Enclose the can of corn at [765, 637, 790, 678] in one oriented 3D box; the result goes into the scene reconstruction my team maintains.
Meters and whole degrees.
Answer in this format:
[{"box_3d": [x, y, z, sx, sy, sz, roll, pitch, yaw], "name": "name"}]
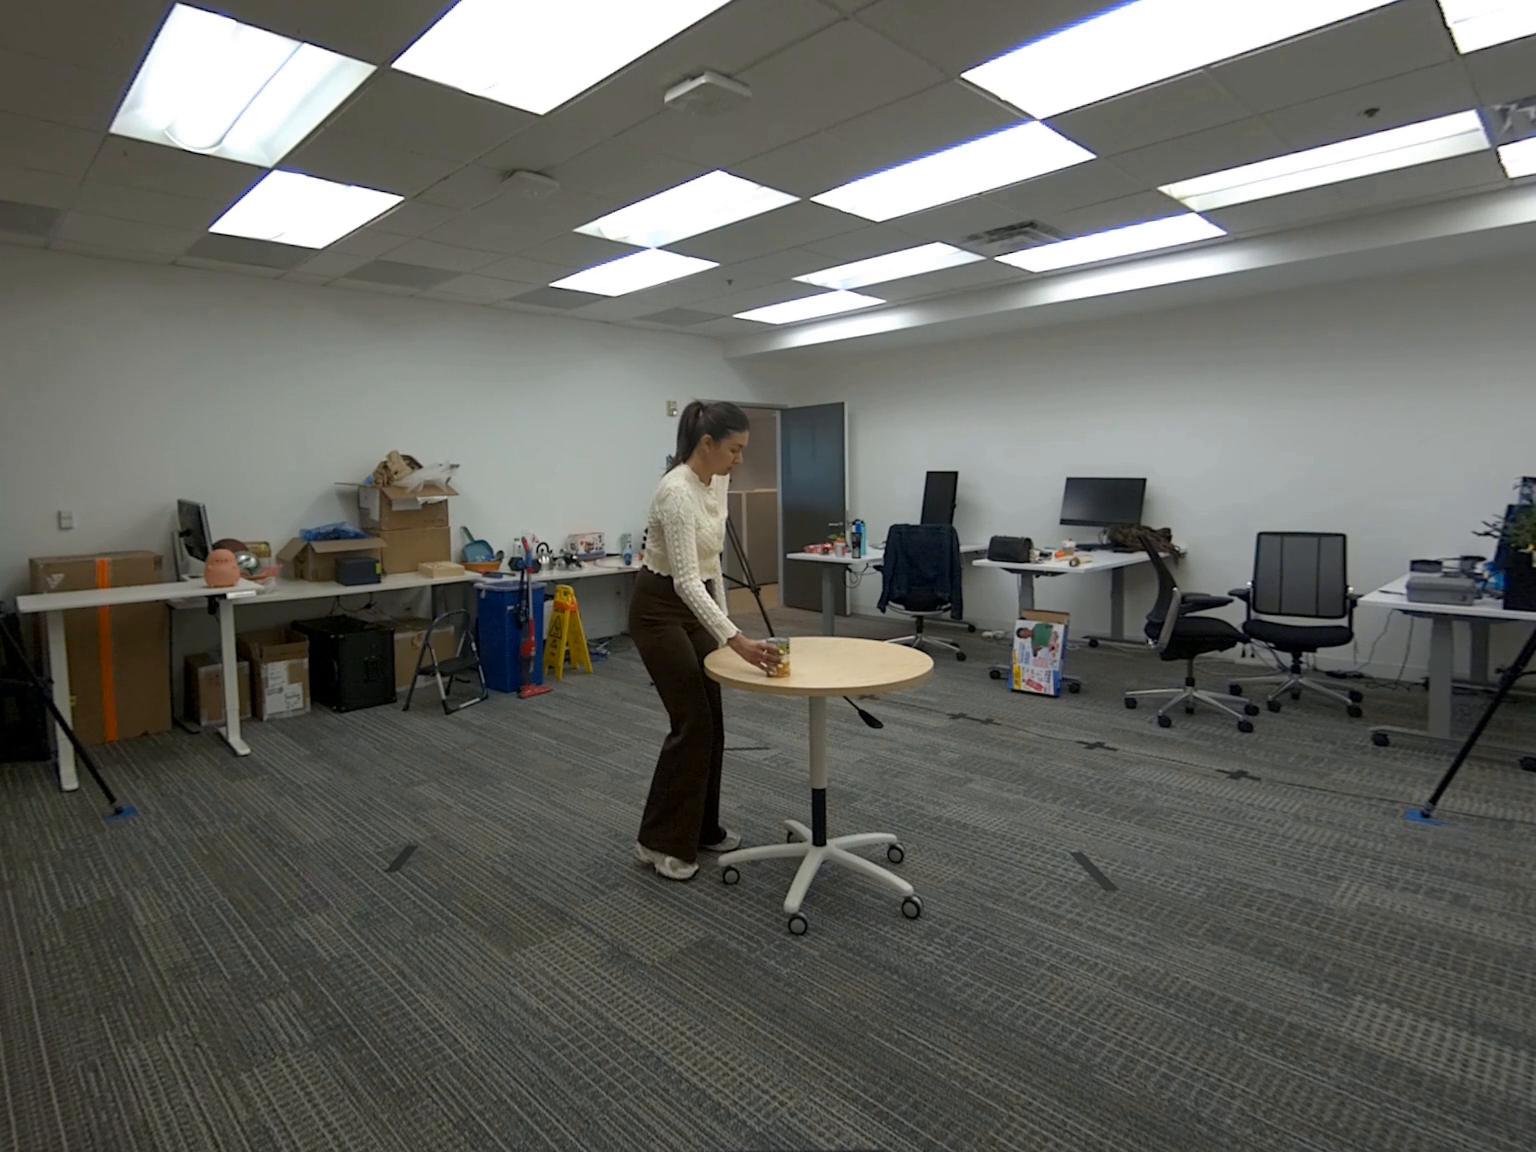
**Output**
[{"box_3d": [0.031, 0.256, 2.669, 0.074, 0.110, 0.074, -3, 5, -1], "name": "can of corn"}]
